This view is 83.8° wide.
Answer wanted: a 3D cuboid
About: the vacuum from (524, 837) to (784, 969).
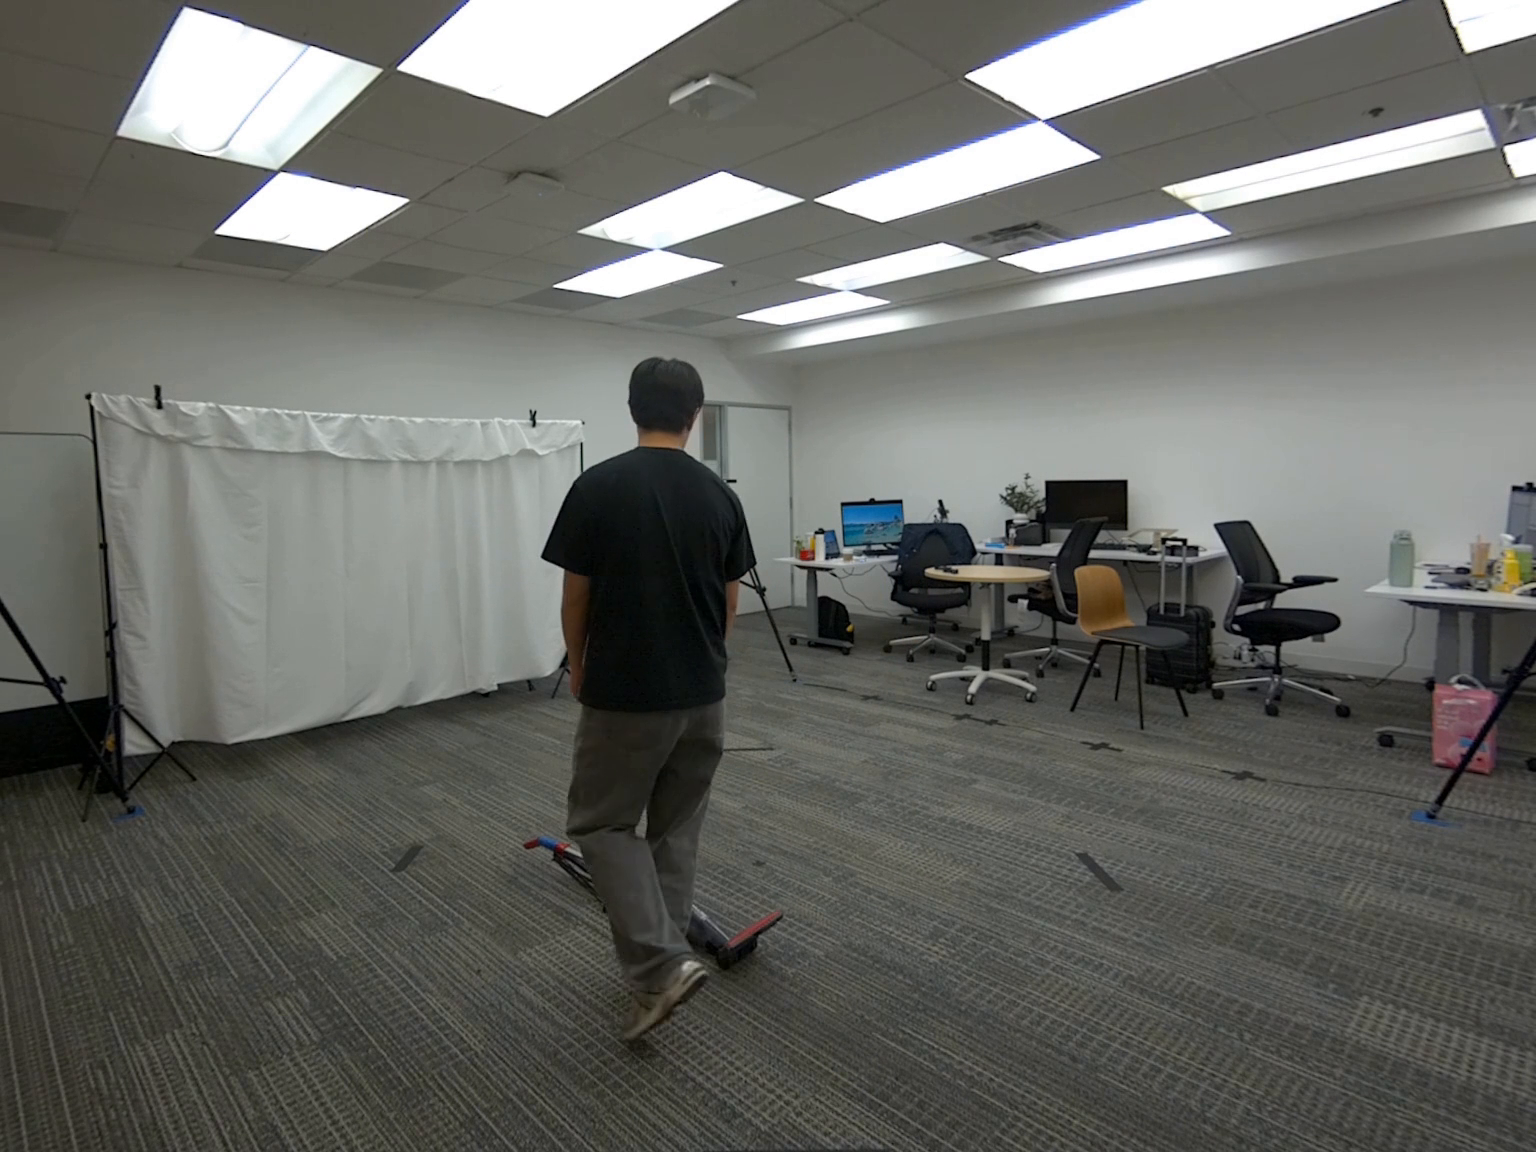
[{"bbox_3d":[-0.468,1.033,2.806,1.081,0.143,0.247,3,11,39],"label":"vacuum"}]
